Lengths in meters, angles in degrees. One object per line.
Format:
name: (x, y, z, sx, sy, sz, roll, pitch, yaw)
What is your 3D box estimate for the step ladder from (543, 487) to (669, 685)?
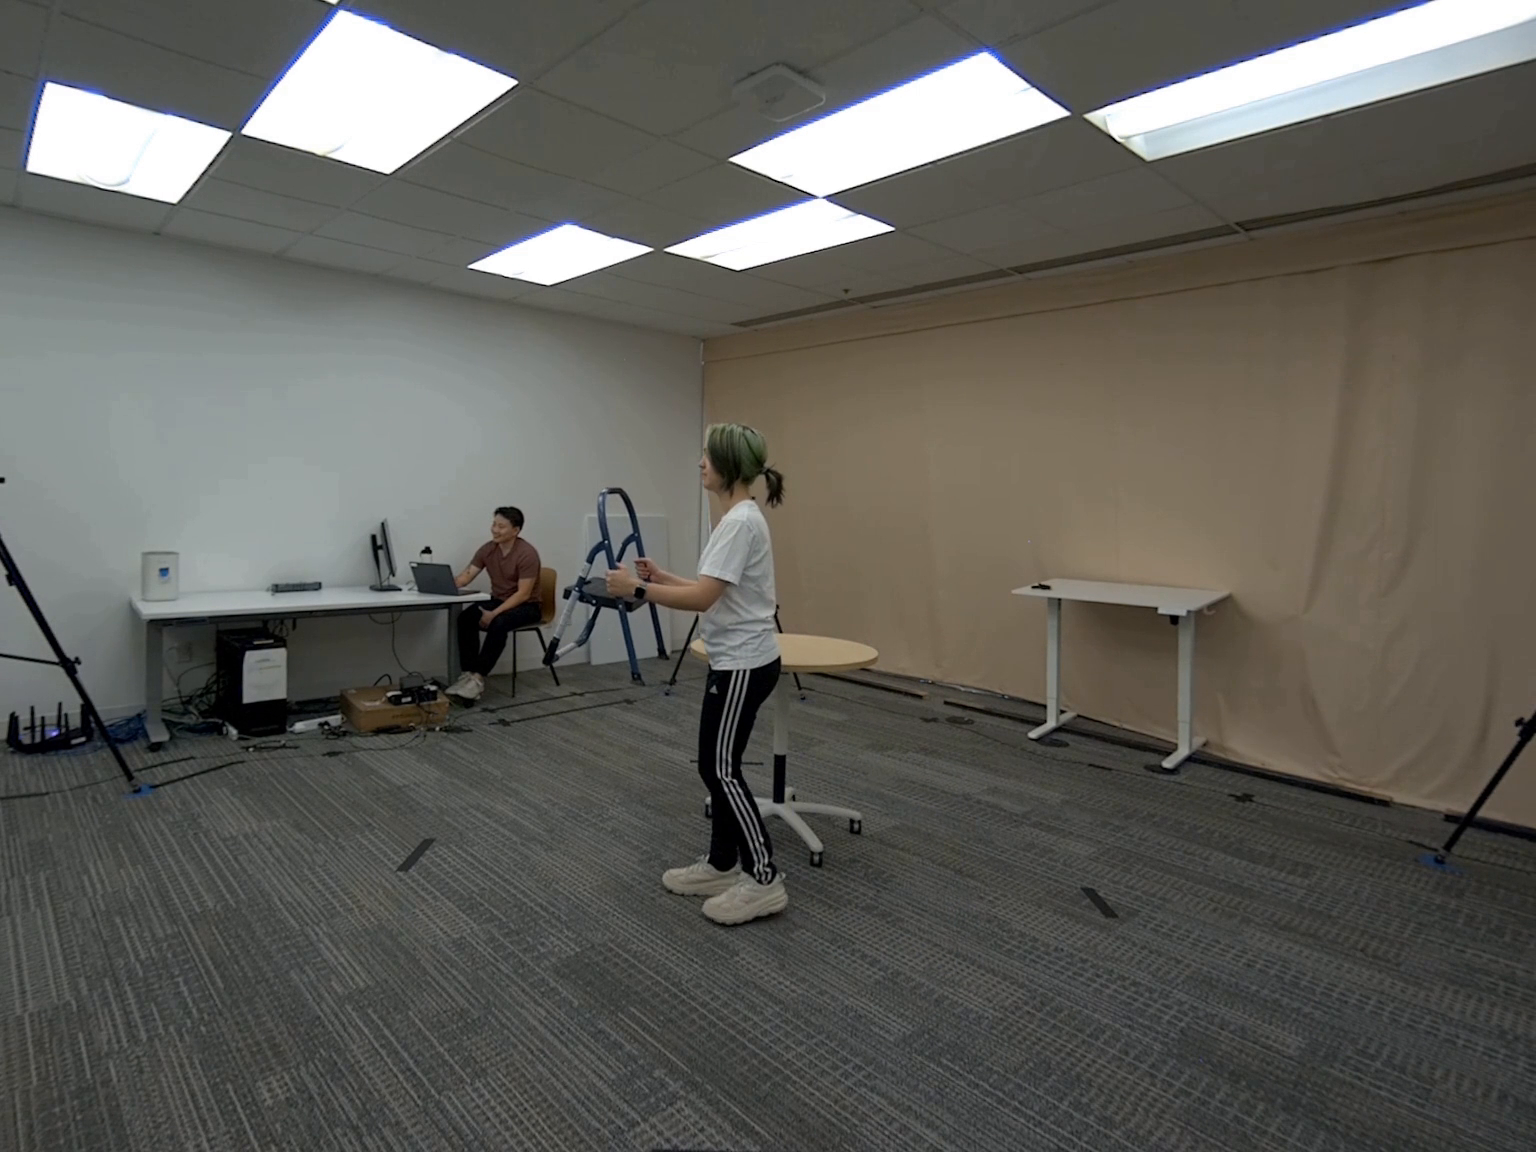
step ladder: (-0.513, 0.015, 2.911, 0.351, 0.603, 0.430, 9, 7, 4)
